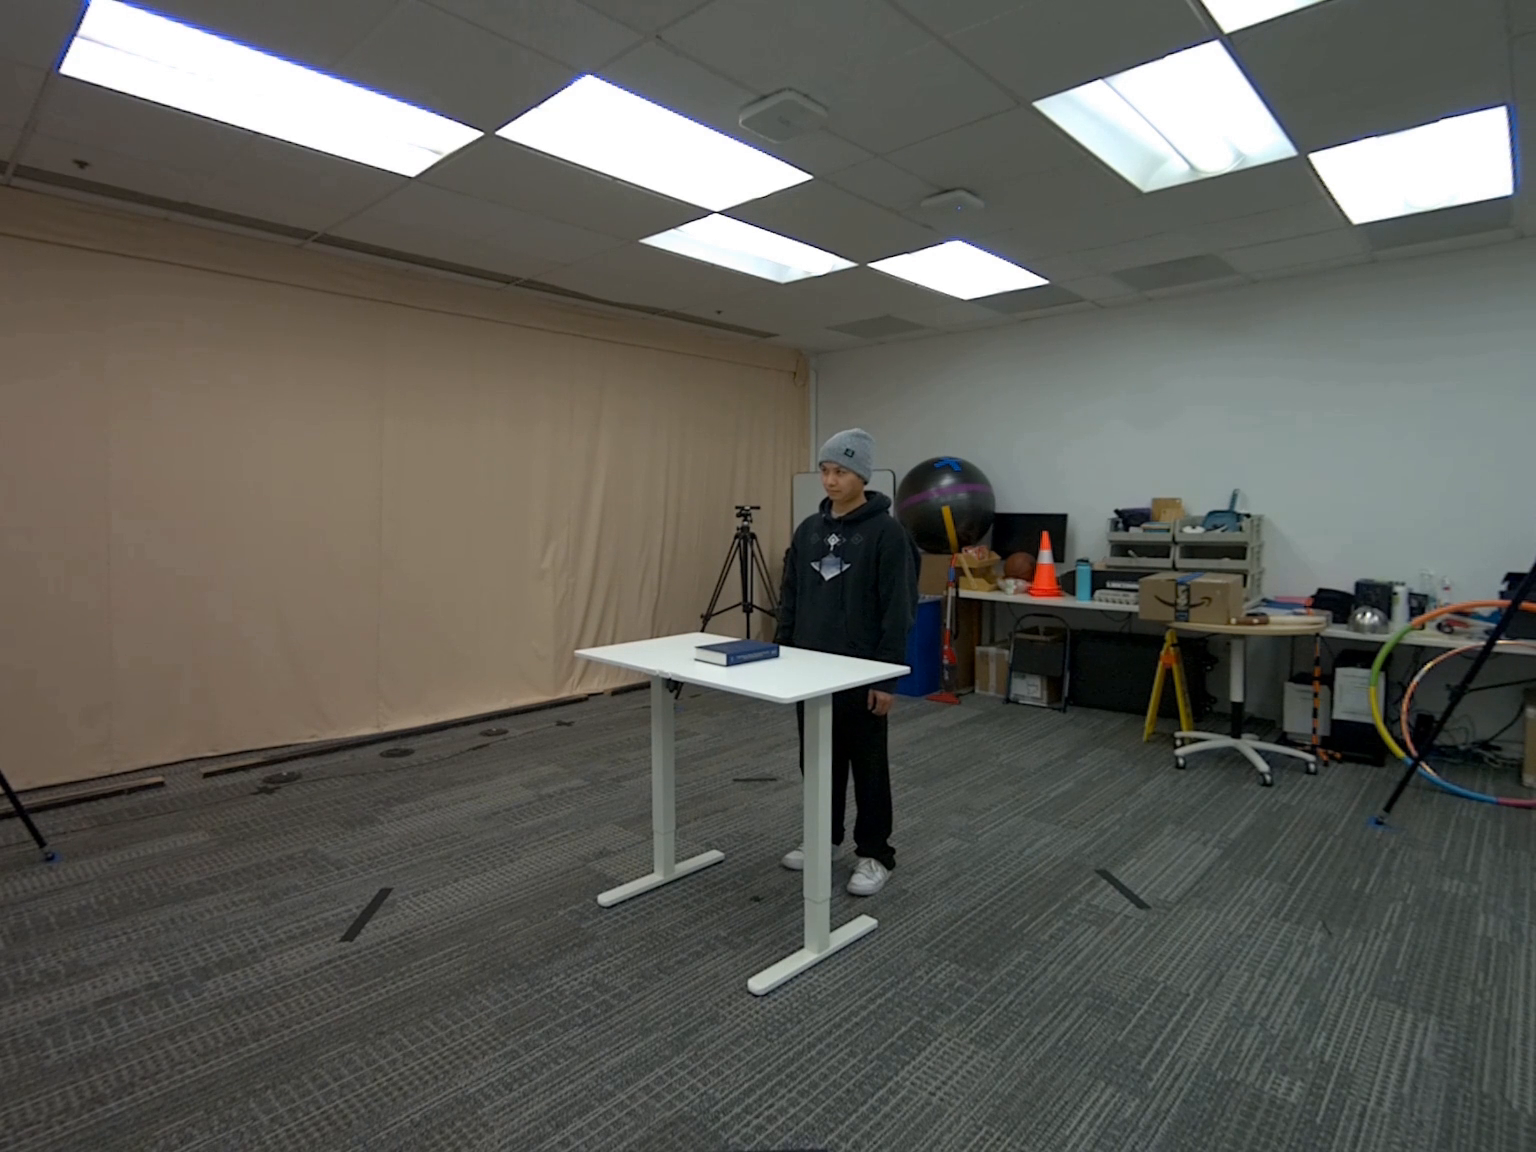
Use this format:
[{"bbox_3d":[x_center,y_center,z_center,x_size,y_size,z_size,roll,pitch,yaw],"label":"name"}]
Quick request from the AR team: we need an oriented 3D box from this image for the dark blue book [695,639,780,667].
[{"bbox_3d":[-0.106,0.260,2.801,0.238,0.045,0.169,-5,7,-44],"label":"dark blue book"}]
